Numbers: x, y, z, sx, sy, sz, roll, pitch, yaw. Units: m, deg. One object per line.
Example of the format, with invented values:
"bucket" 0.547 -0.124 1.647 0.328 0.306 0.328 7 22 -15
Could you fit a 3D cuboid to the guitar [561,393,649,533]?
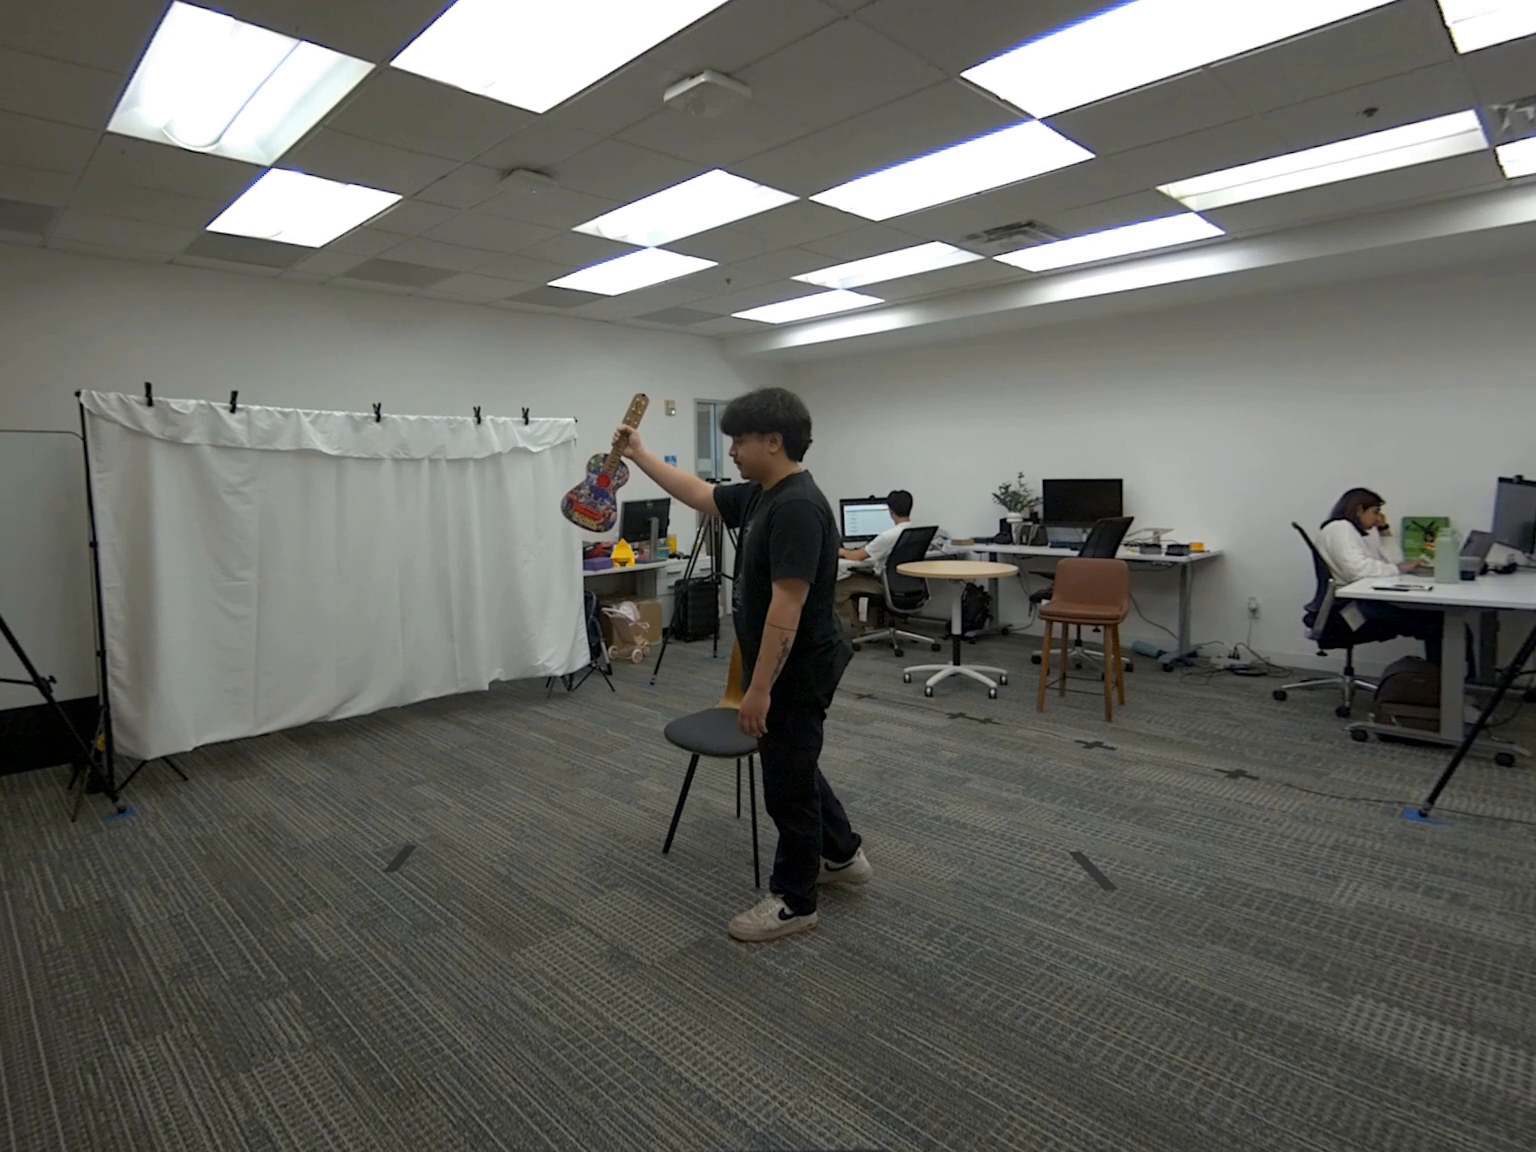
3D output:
"guitar" -0.507 -0.378 2.919 0.191 0.498 0.071 33 -3 -6
